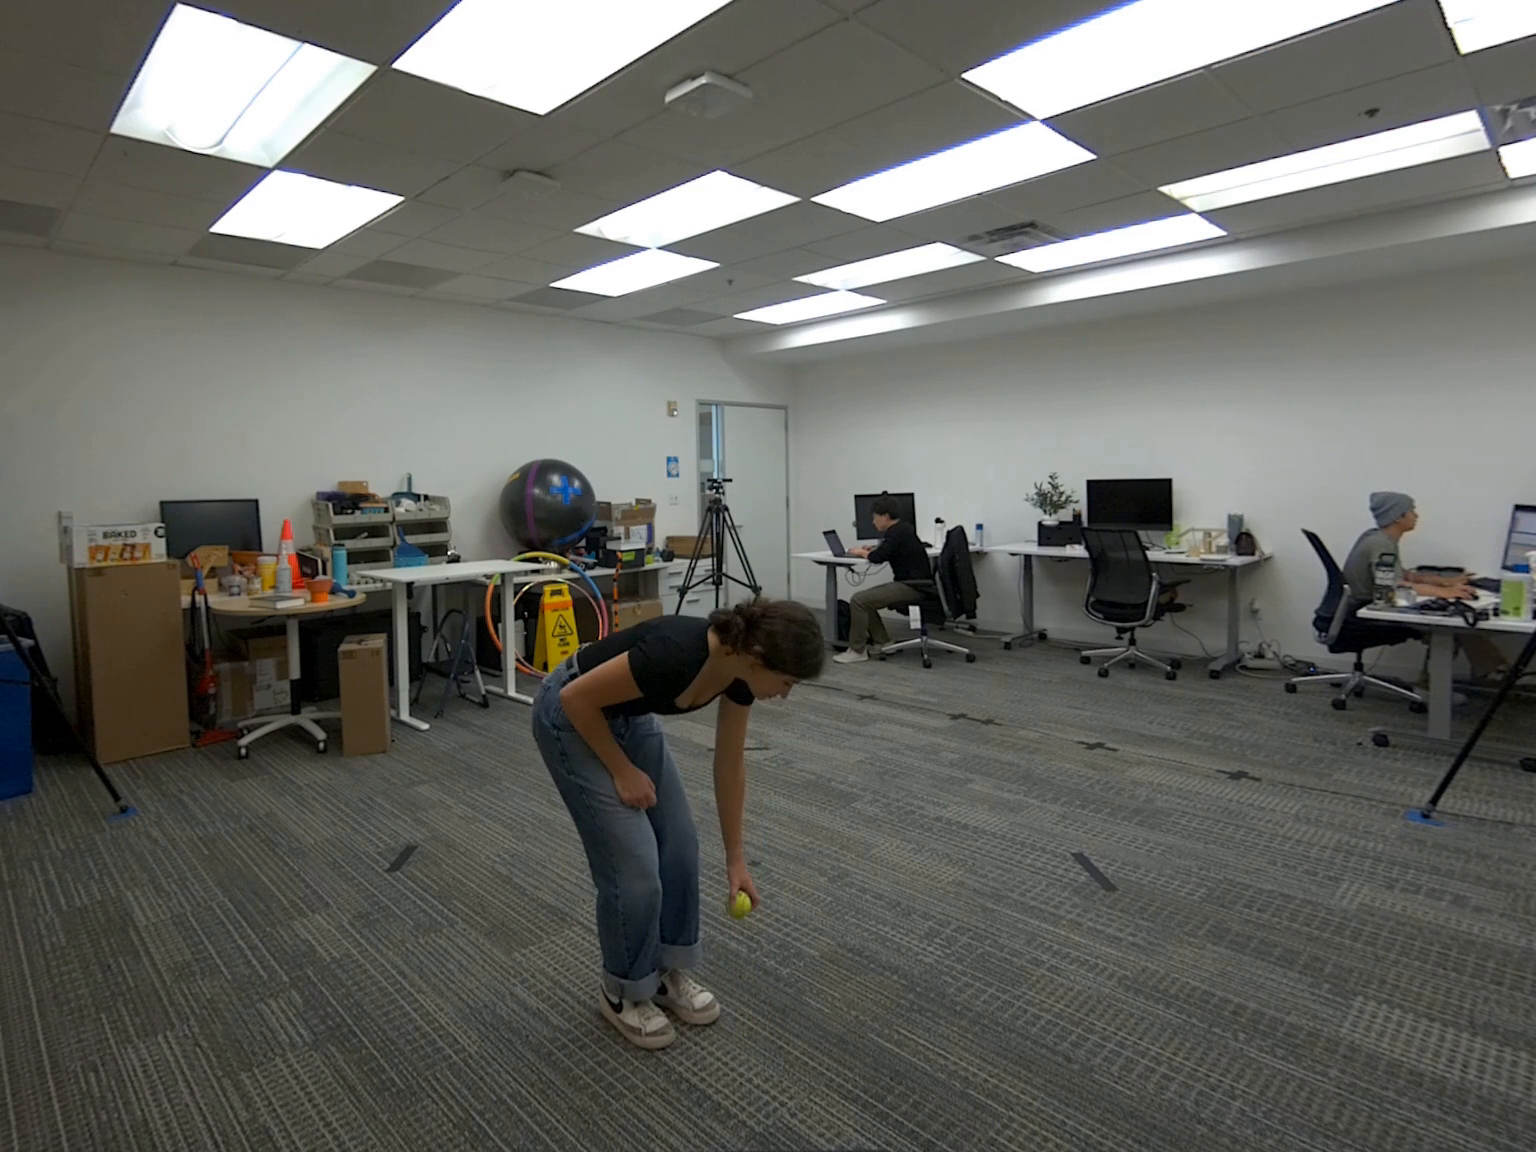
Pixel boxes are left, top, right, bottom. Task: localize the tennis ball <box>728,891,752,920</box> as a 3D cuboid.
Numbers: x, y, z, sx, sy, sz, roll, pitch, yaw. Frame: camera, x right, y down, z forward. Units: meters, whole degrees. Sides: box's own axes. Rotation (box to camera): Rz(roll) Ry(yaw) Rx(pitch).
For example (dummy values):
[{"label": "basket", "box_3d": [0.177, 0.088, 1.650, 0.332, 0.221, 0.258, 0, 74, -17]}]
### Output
[{"label": "tennis ball", "box_3d": [-0.088, 0.828, 2.213, 0.066, 0.066, 0.067, -1, 5, -2]}]
